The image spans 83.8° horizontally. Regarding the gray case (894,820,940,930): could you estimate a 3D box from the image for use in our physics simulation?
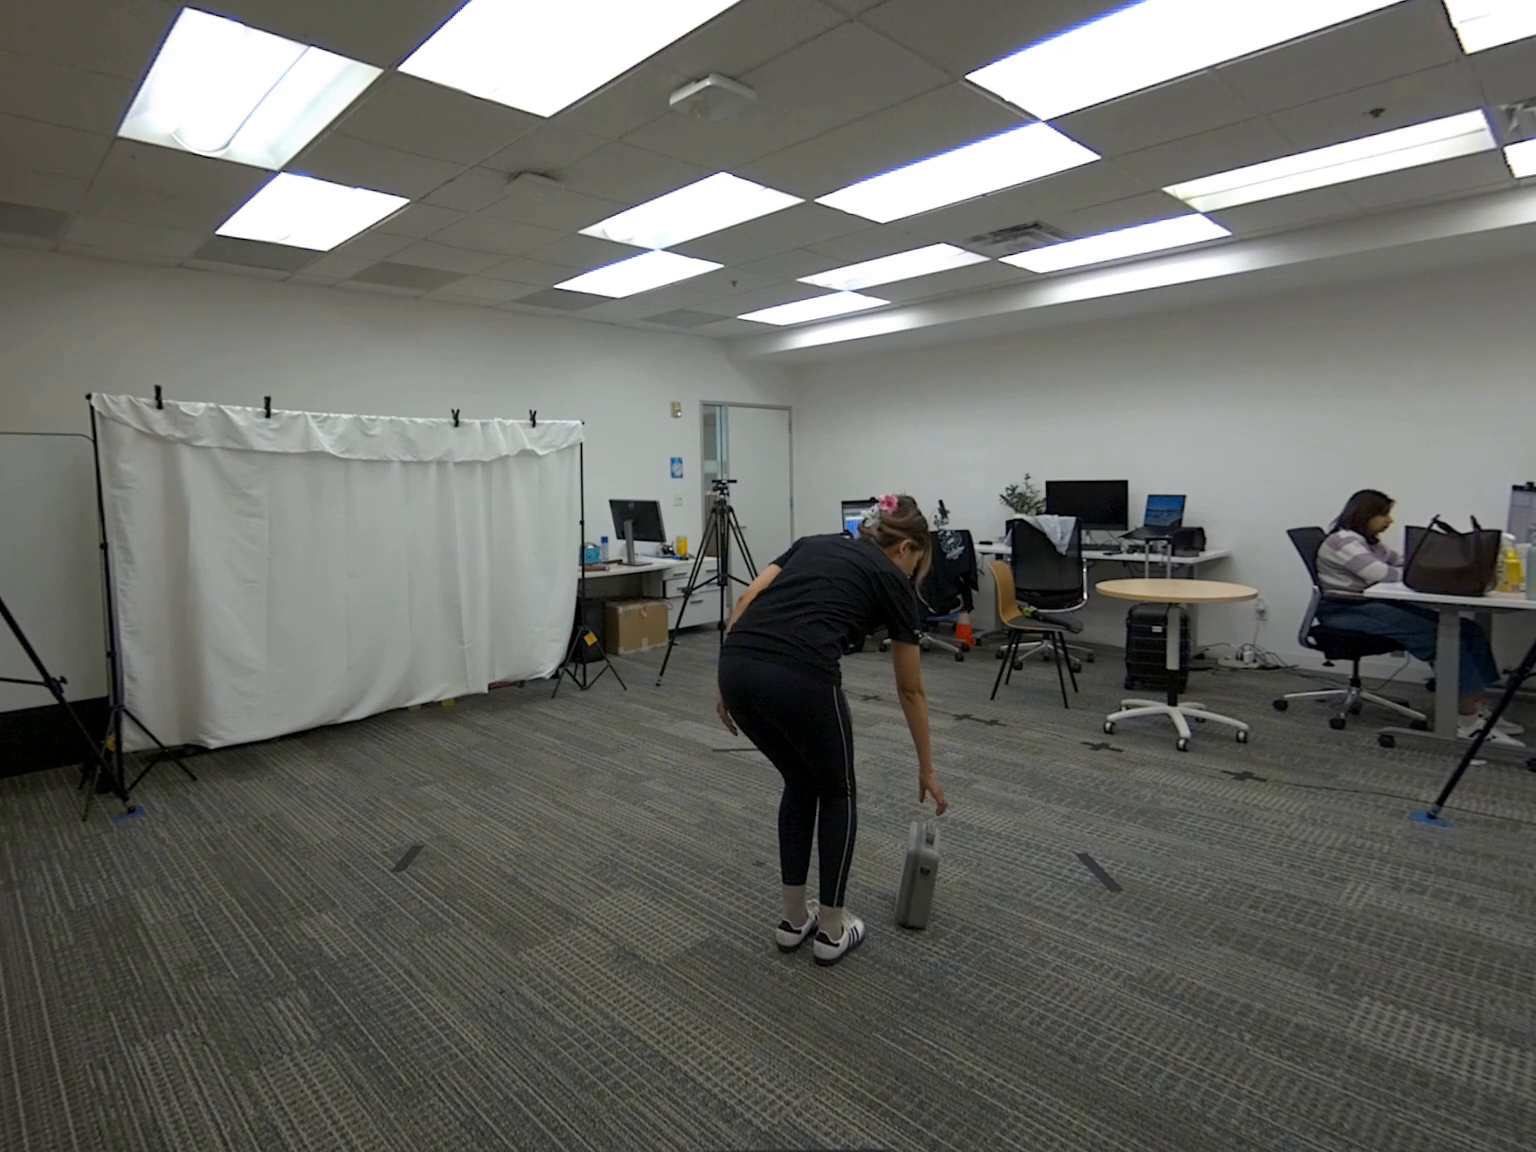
[{"bbox_3d":[0.488,0.950,2.735,0.106,0.259,0.254,9,8,13],"label":"gray case"}]
